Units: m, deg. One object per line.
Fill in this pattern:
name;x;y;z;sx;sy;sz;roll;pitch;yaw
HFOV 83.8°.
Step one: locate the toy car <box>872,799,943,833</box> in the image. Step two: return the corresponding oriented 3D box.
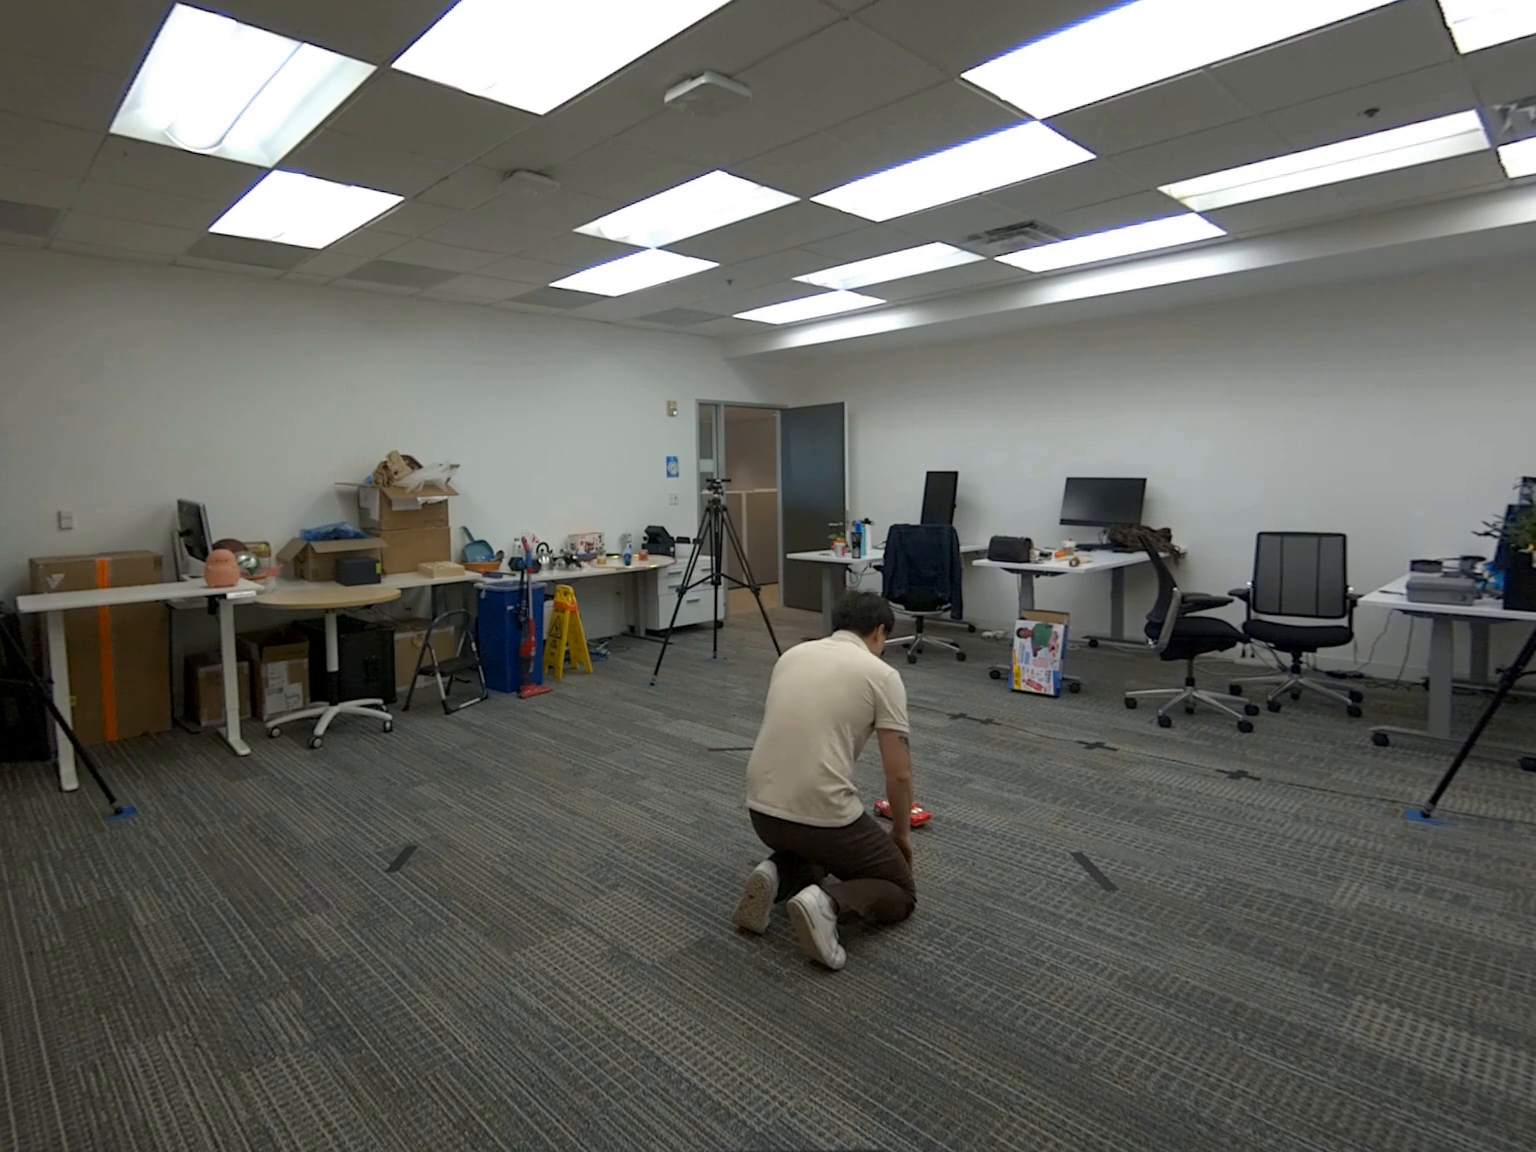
toy car;0.560;0.962;3.469;0.127;0.084;0.259;-3;-5;-34
